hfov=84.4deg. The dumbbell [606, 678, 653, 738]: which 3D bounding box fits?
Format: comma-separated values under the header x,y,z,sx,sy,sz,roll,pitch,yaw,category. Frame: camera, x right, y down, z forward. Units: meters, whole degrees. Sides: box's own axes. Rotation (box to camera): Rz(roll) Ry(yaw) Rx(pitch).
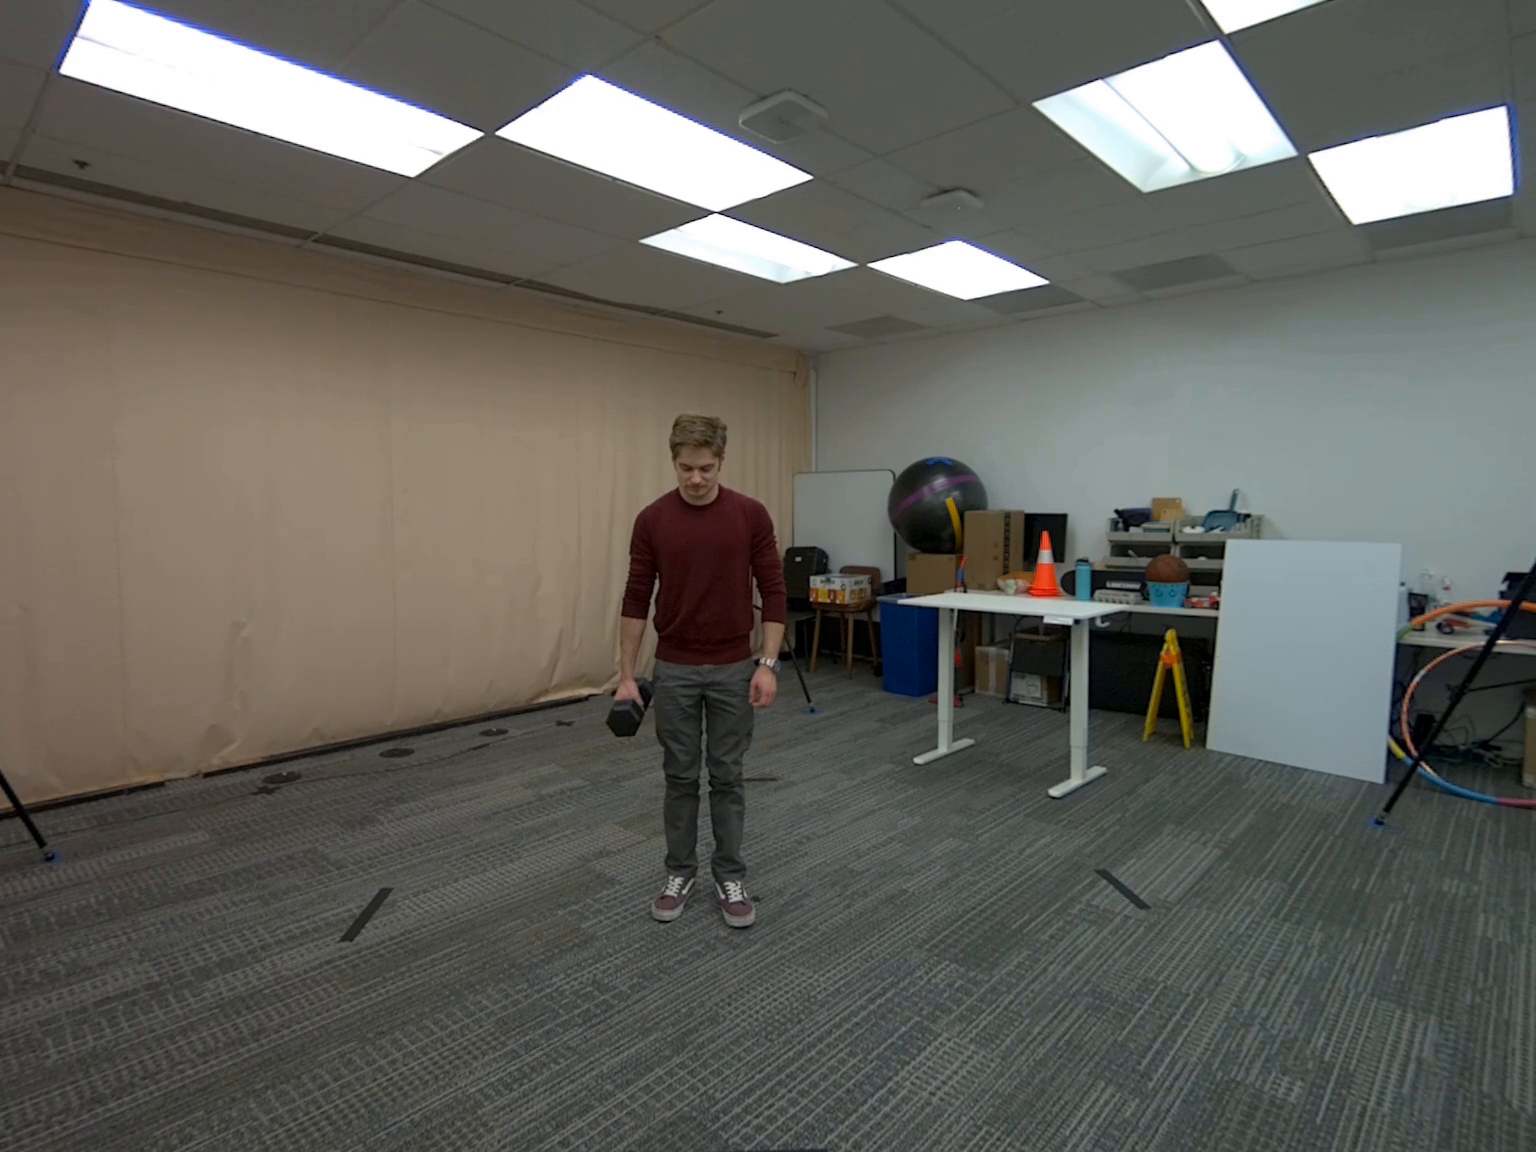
x,y,z,sx,sy,sz,roll,pitch,yaw,category
-0.467,0.442,2.876,0.108,0.123,0.294,26,11,-3,dumbbell
